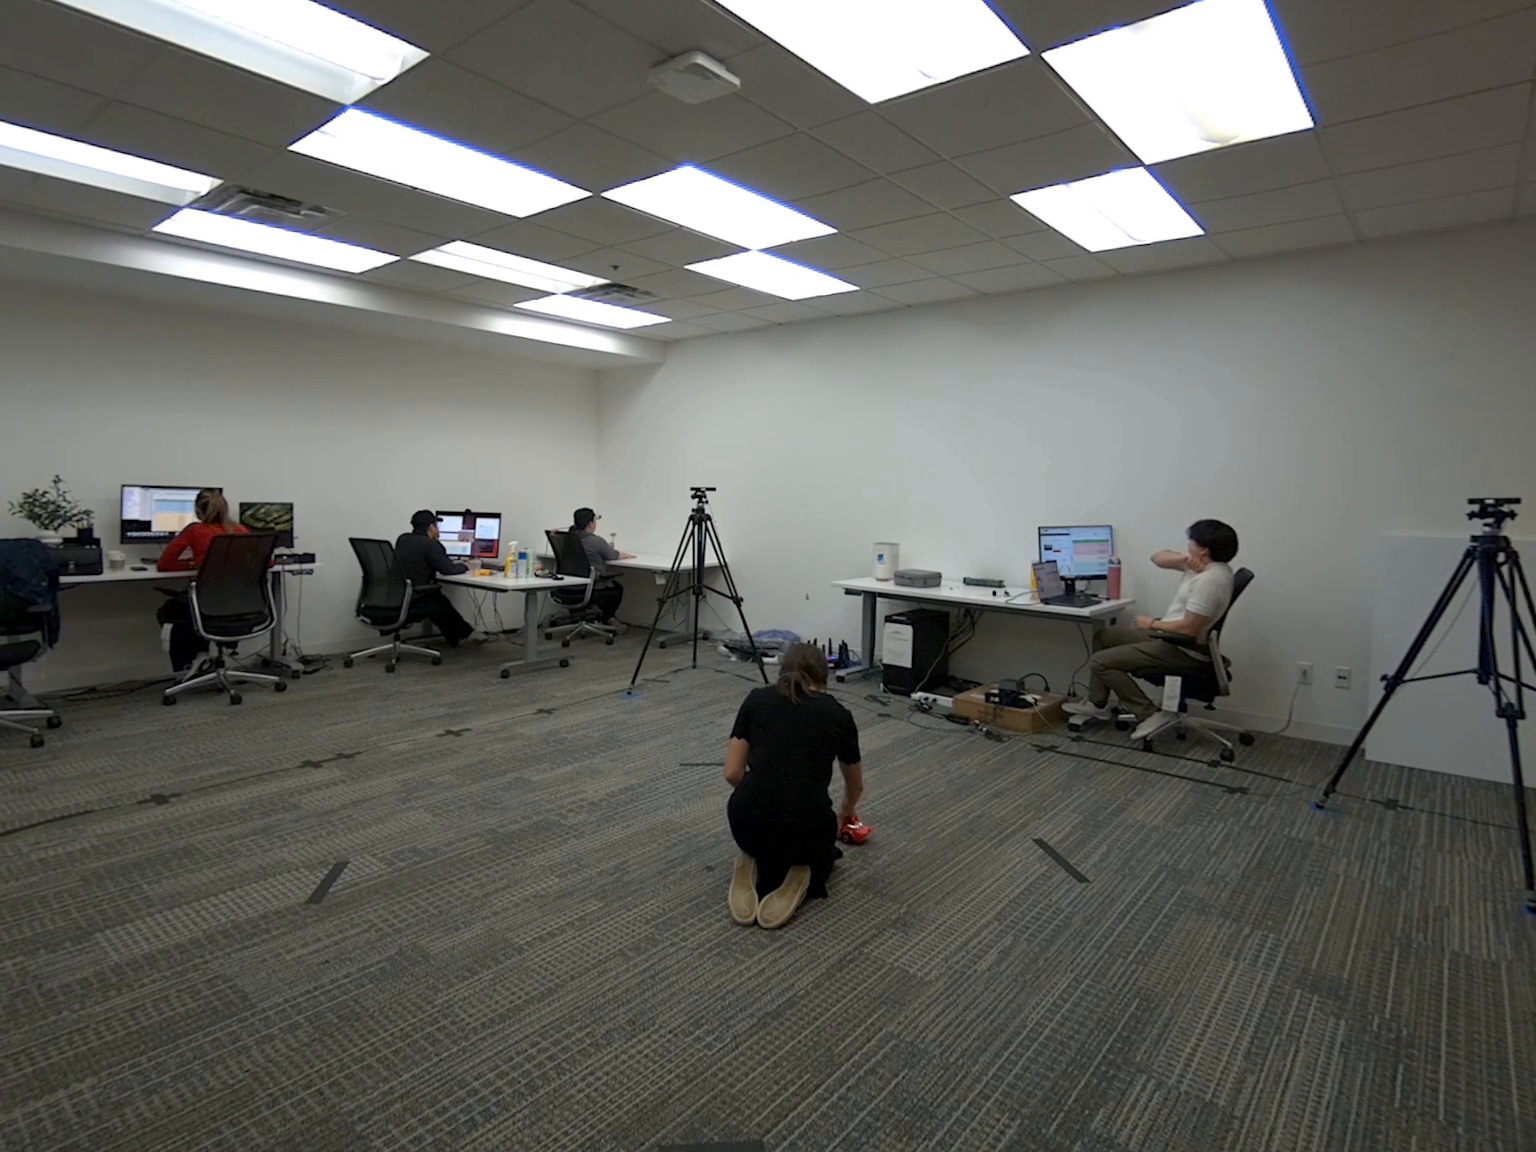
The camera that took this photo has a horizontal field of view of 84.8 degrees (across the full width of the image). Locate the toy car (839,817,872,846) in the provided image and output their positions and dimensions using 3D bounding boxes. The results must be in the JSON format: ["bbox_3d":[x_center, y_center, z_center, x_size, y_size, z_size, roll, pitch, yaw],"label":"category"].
[{"bbox_3d":[0.291,1.015,3.424,0.261,0.083,0.127,-7,-1,35],"label":"toy car"}]
